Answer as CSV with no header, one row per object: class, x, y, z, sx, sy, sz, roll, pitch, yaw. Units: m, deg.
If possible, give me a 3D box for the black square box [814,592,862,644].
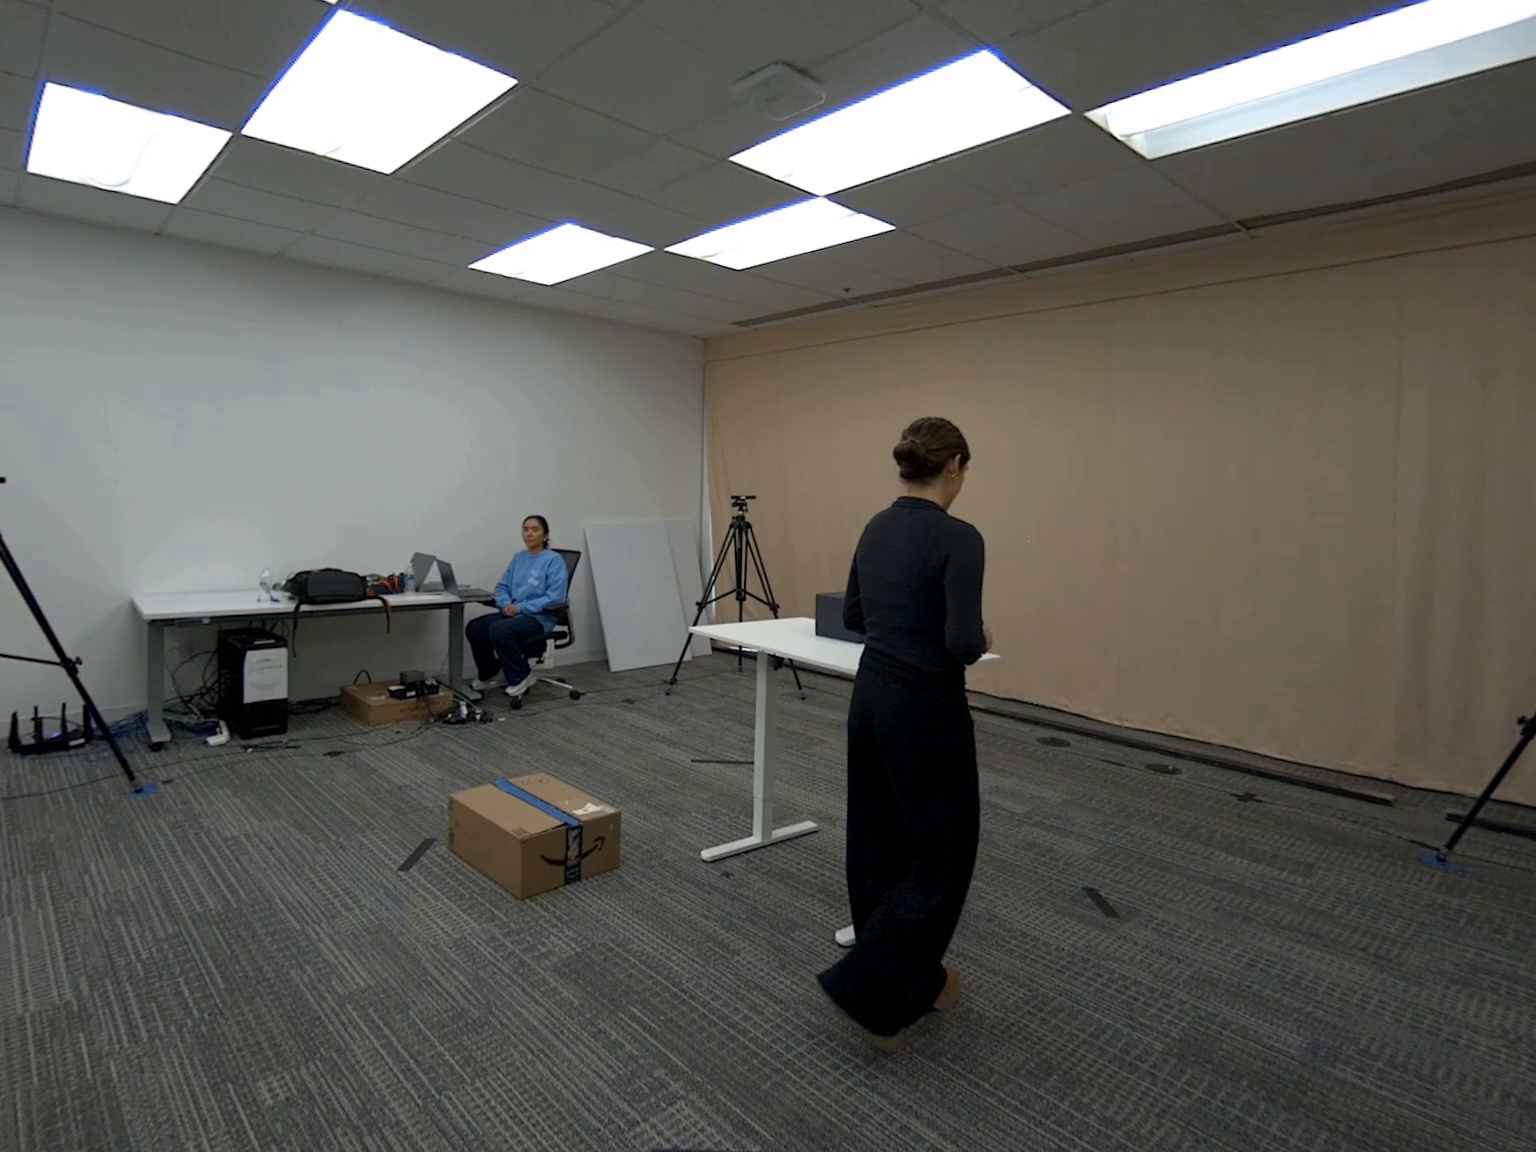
black square box,0.327,0.151,3.137,0.212,0.155,0.234,-3,7,-44
